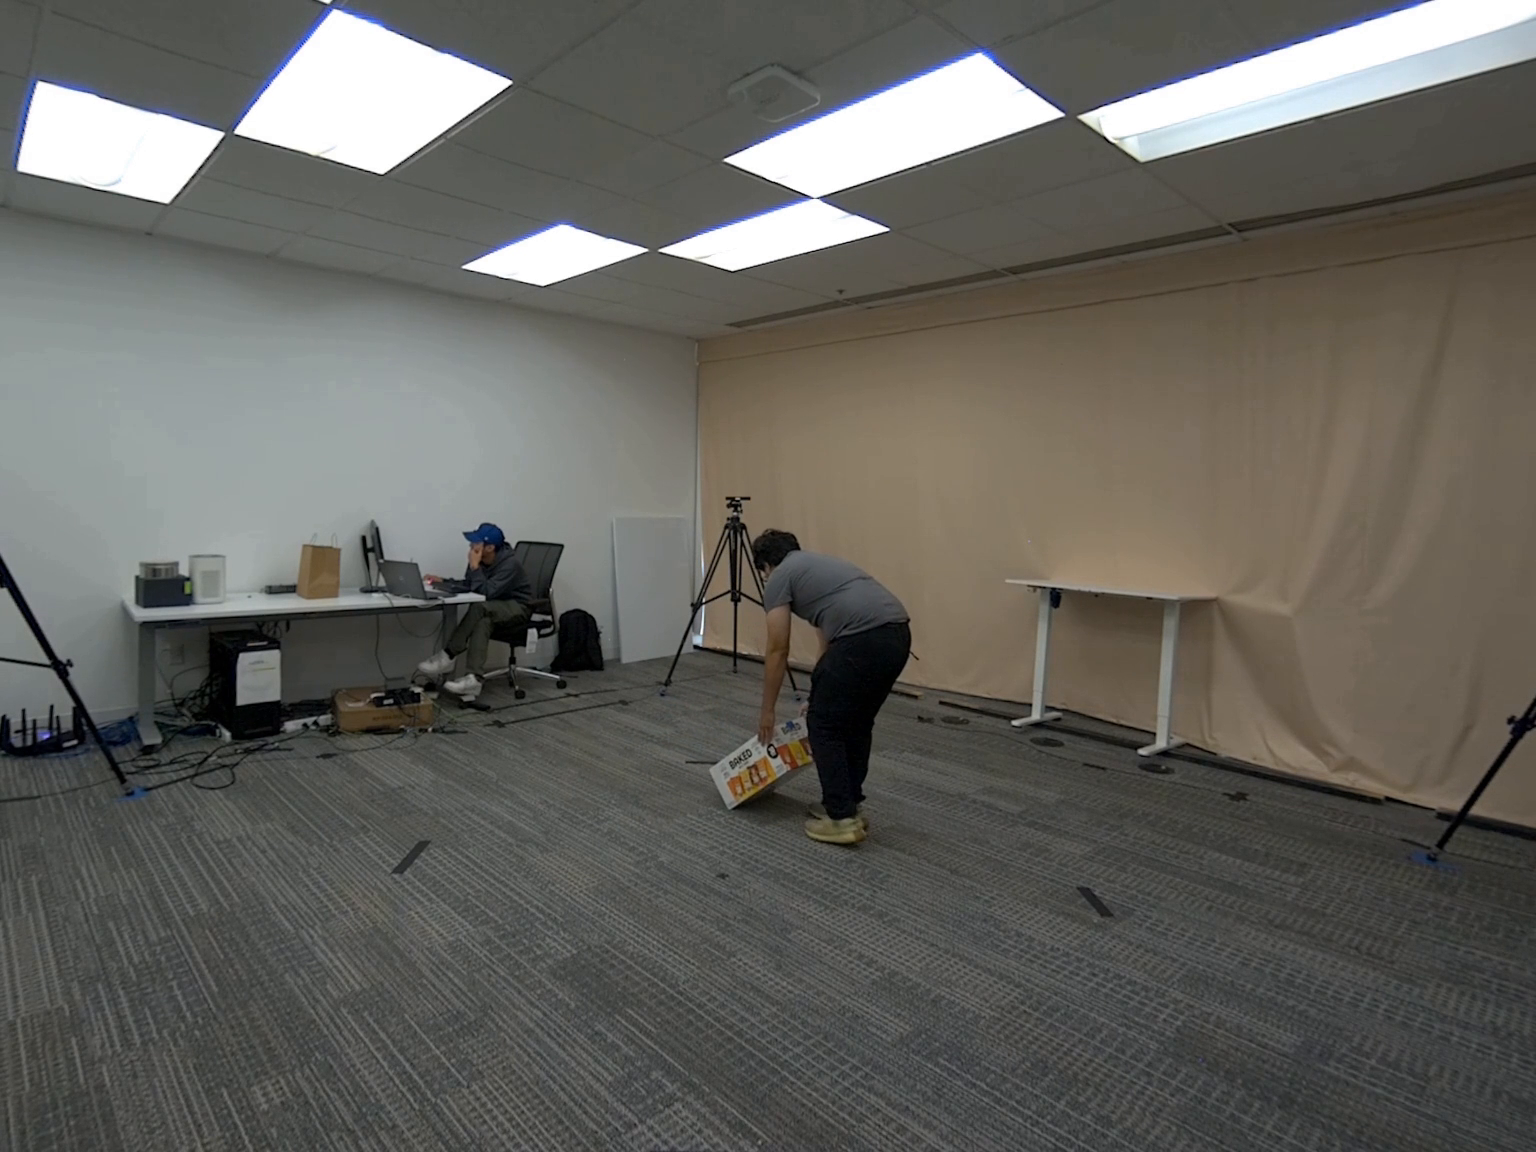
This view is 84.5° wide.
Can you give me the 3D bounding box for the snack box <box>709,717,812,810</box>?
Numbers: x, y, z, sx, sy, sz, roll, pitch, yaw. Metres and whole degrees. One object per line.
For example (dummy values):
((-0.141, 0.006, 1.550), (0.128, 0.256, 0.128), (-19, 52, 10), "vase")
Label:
((0.002, 0.846, 3.833), (0.406, 0.210, 0.333), (-42, -22, 32), "snack box")
